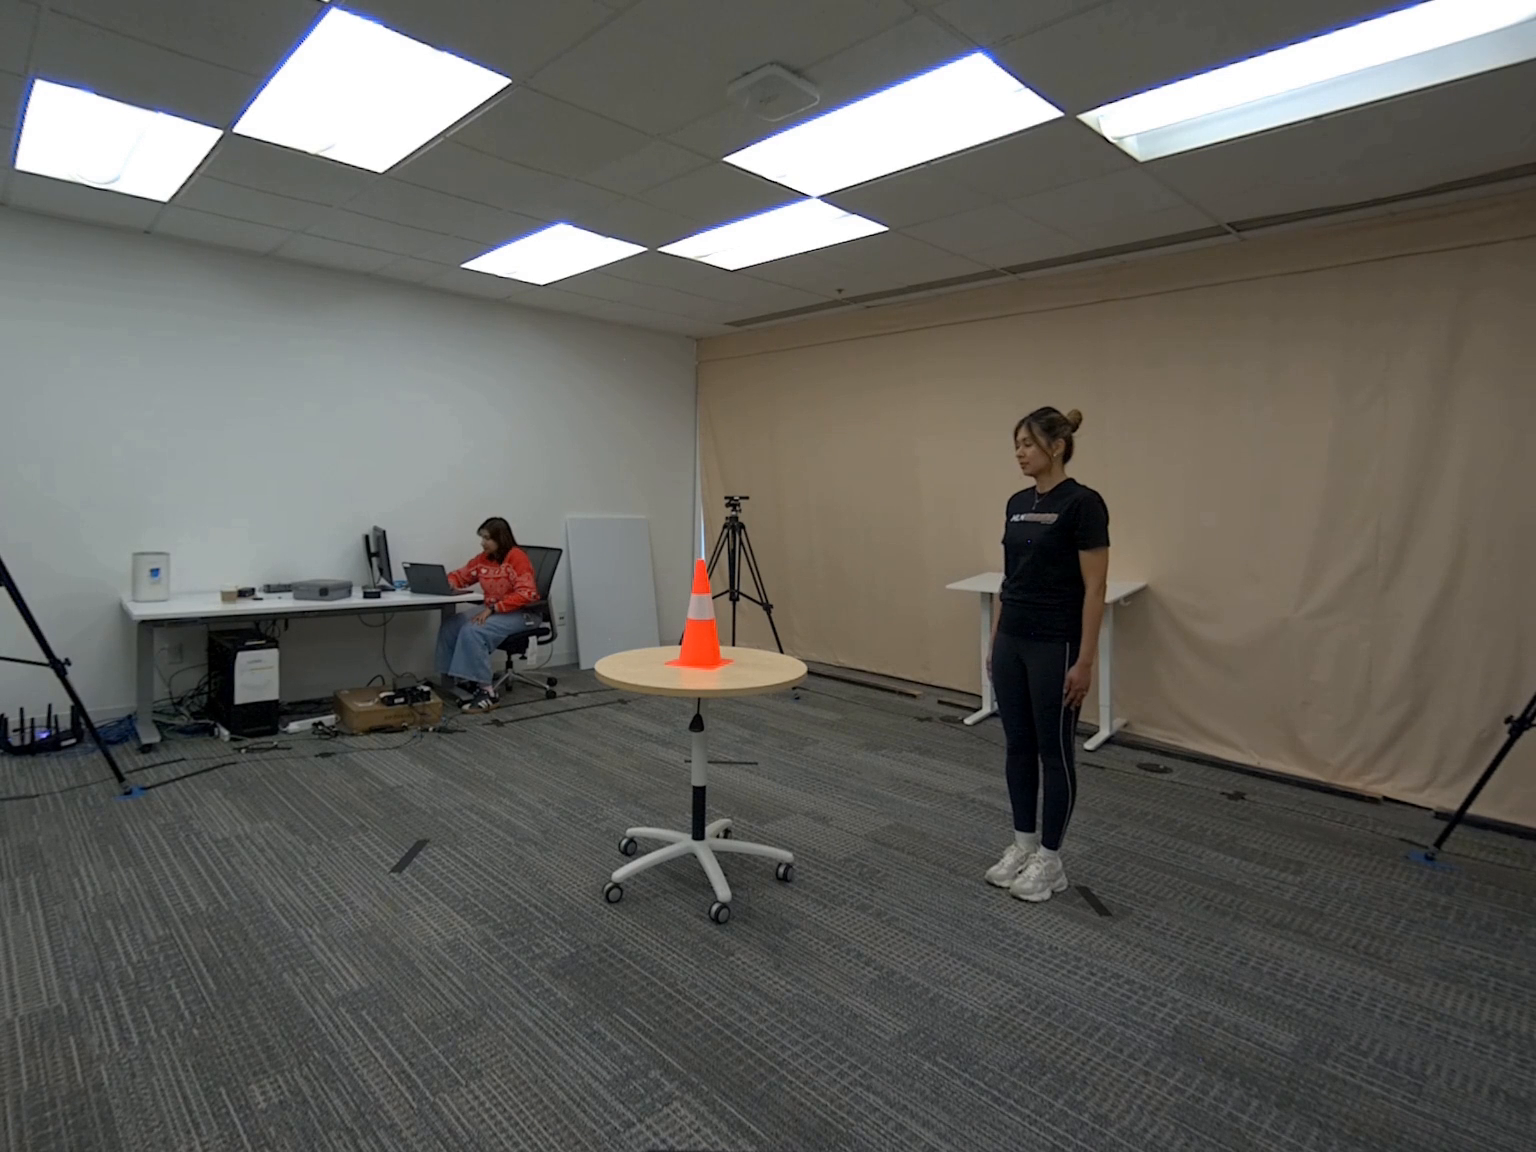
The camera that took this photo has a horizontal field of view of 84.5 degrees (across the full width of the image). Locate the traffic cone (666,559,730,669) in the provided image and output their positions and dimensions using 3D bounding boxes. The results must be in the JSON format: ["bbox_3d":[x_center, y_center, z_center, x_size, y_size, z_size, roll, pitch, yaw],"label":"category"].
[{"bbox_3d":[-0.249,0.135,3.075,0.209,0.383,0.200,2,3,24],"label":"traffic cone"}]
